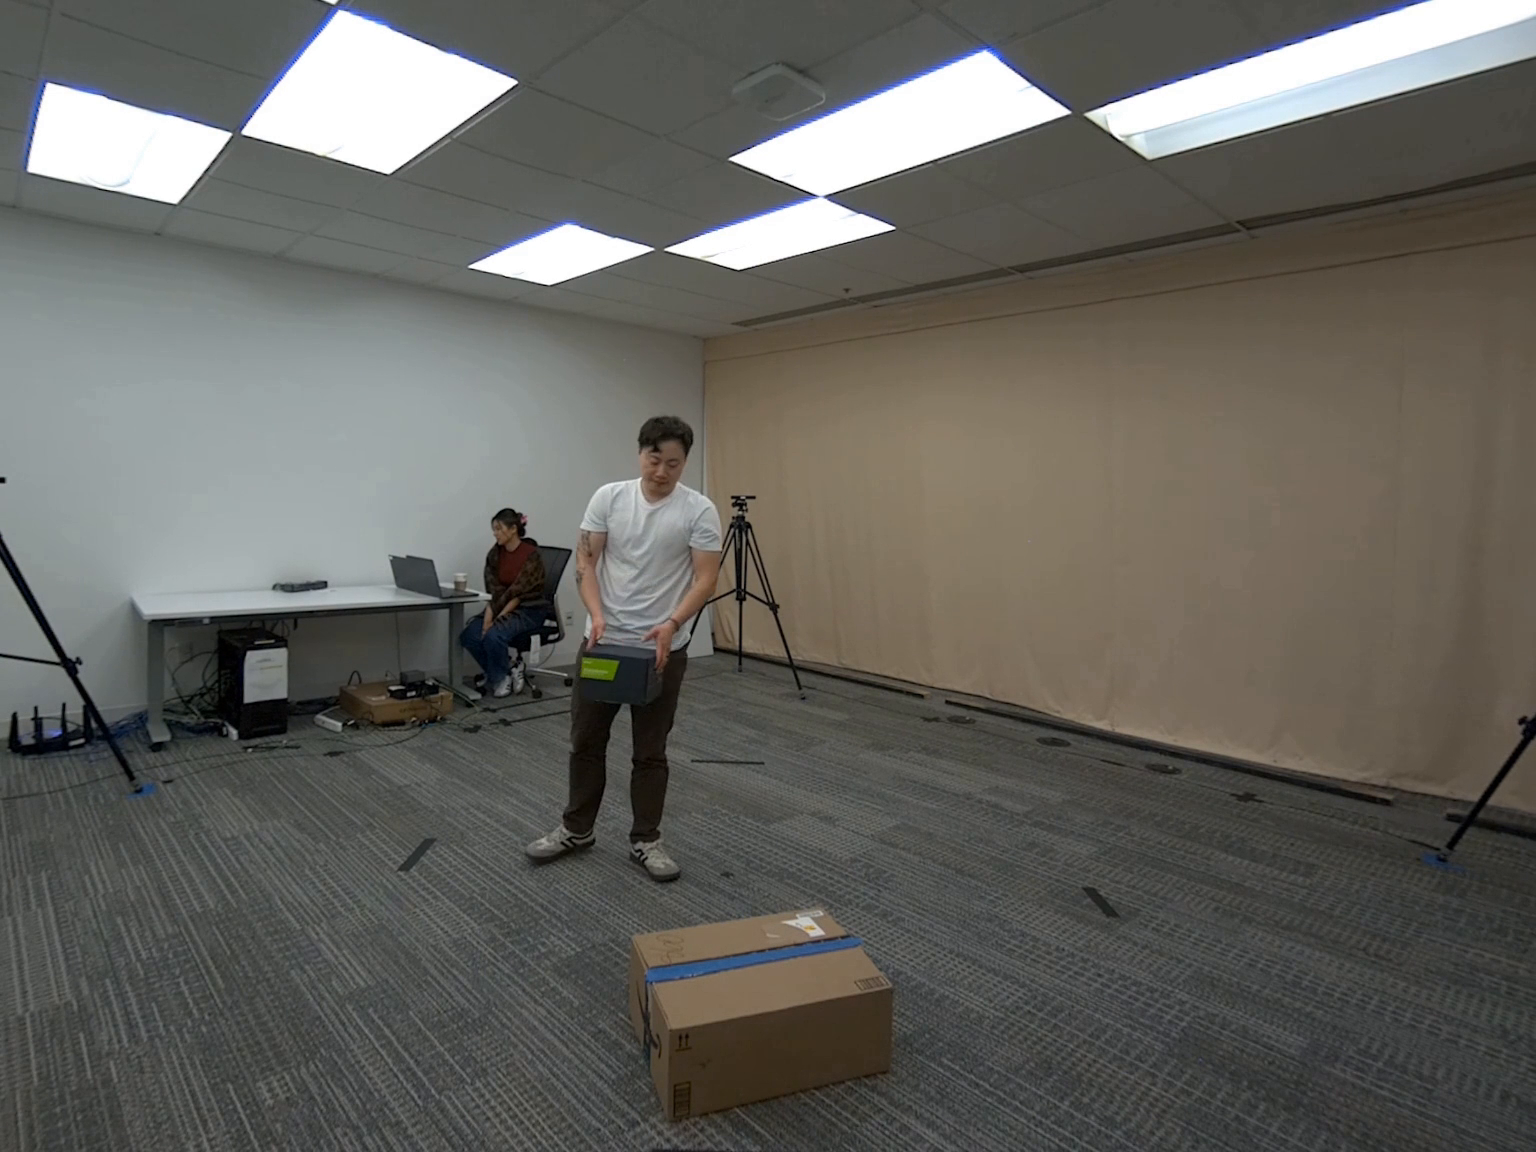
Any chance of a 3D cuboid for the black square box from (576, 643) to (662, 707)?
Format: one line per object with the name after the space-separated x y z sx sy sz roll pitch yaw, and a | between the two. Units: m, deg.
-0.498 0.327 2.848 0.230 0.156 0.215 4 2 9 | black square box
